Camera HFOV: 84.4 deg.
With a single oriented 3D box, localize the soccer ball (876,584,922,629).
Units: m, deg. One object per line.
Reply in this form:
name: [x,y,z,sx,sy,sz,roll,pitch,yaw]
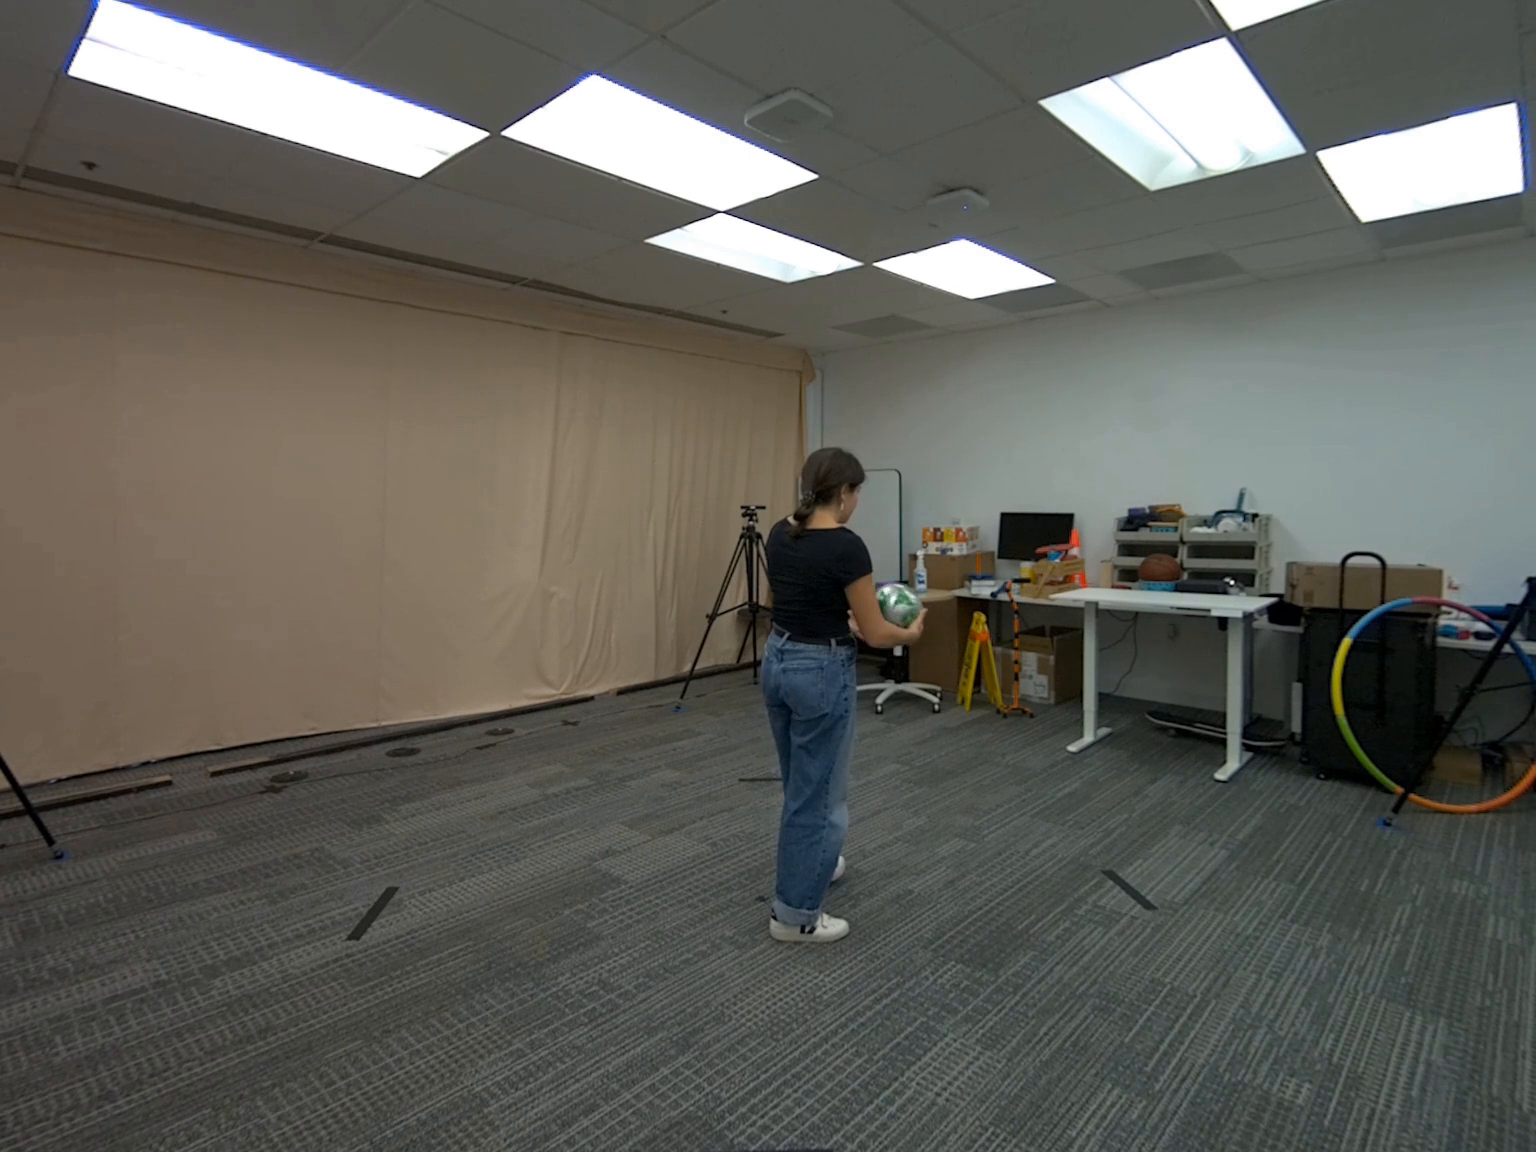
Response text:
soccer ball: [0.425,0.137,2.835,0.187,0.187,0.188,0,4,-2]
